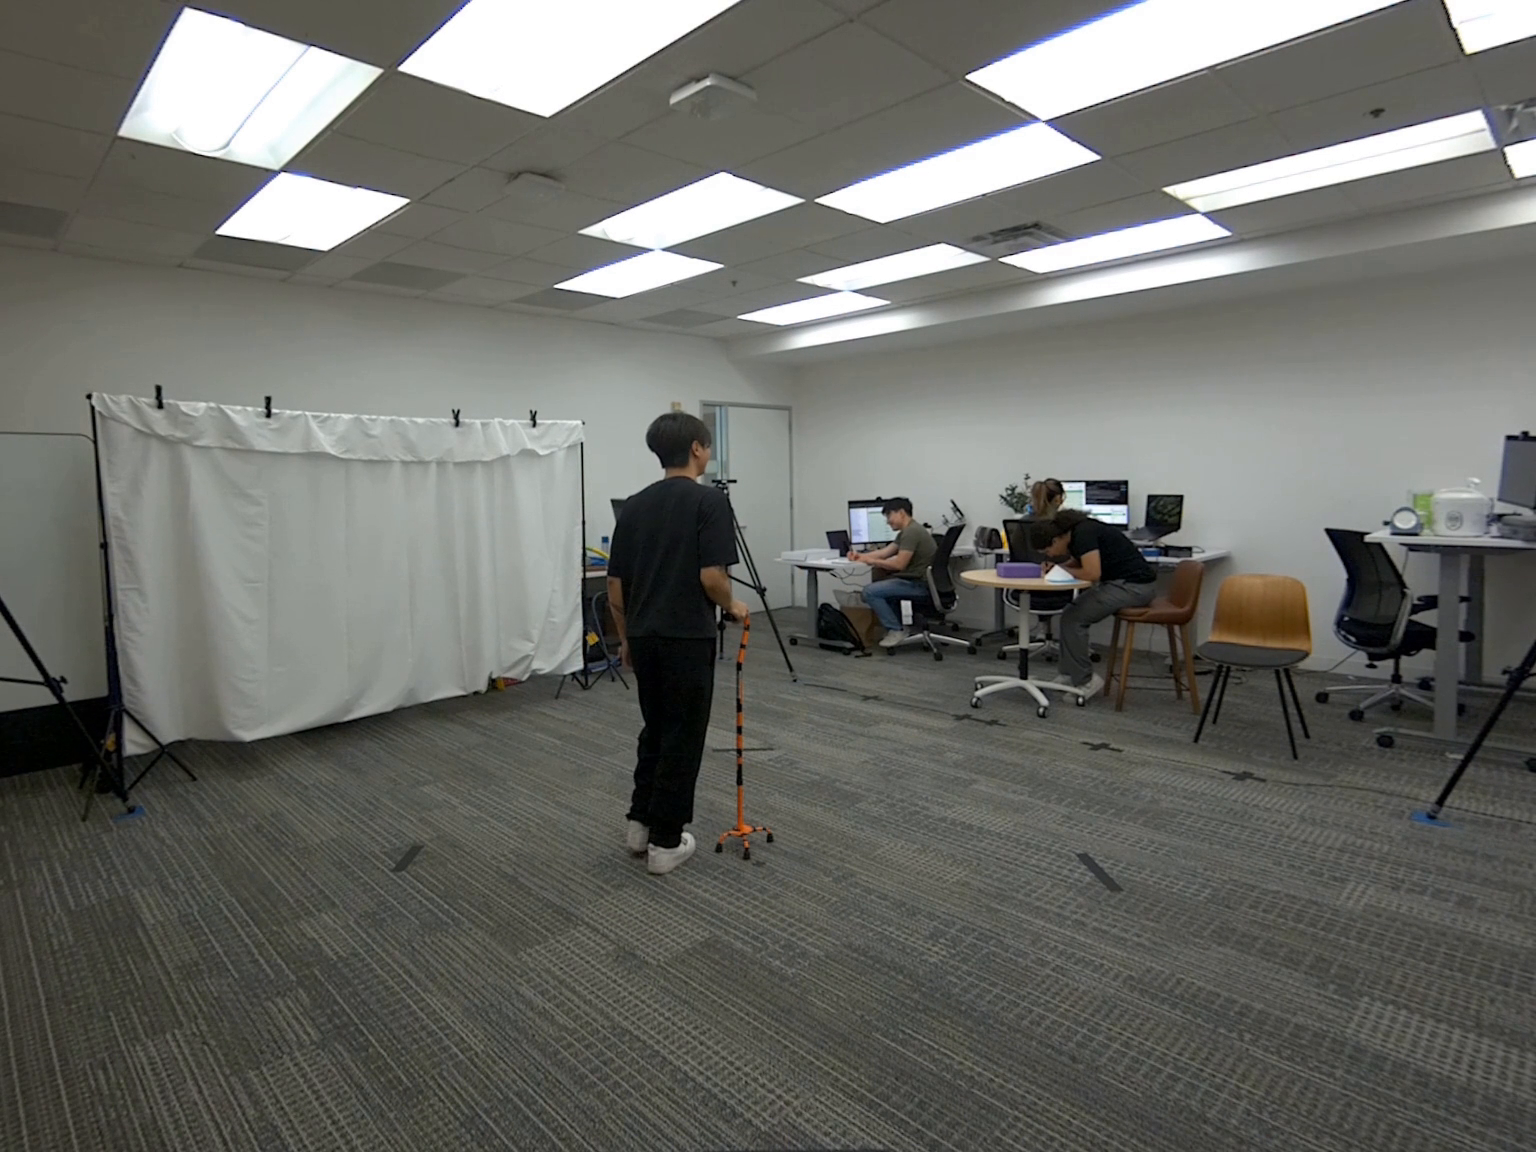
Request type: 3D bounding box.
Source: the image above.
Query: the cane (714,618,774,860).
[{"bbox_3d":[-0.092,0.582,3.235,0.155,0.905,0.202,0,3,29],"label":"cane"}]
